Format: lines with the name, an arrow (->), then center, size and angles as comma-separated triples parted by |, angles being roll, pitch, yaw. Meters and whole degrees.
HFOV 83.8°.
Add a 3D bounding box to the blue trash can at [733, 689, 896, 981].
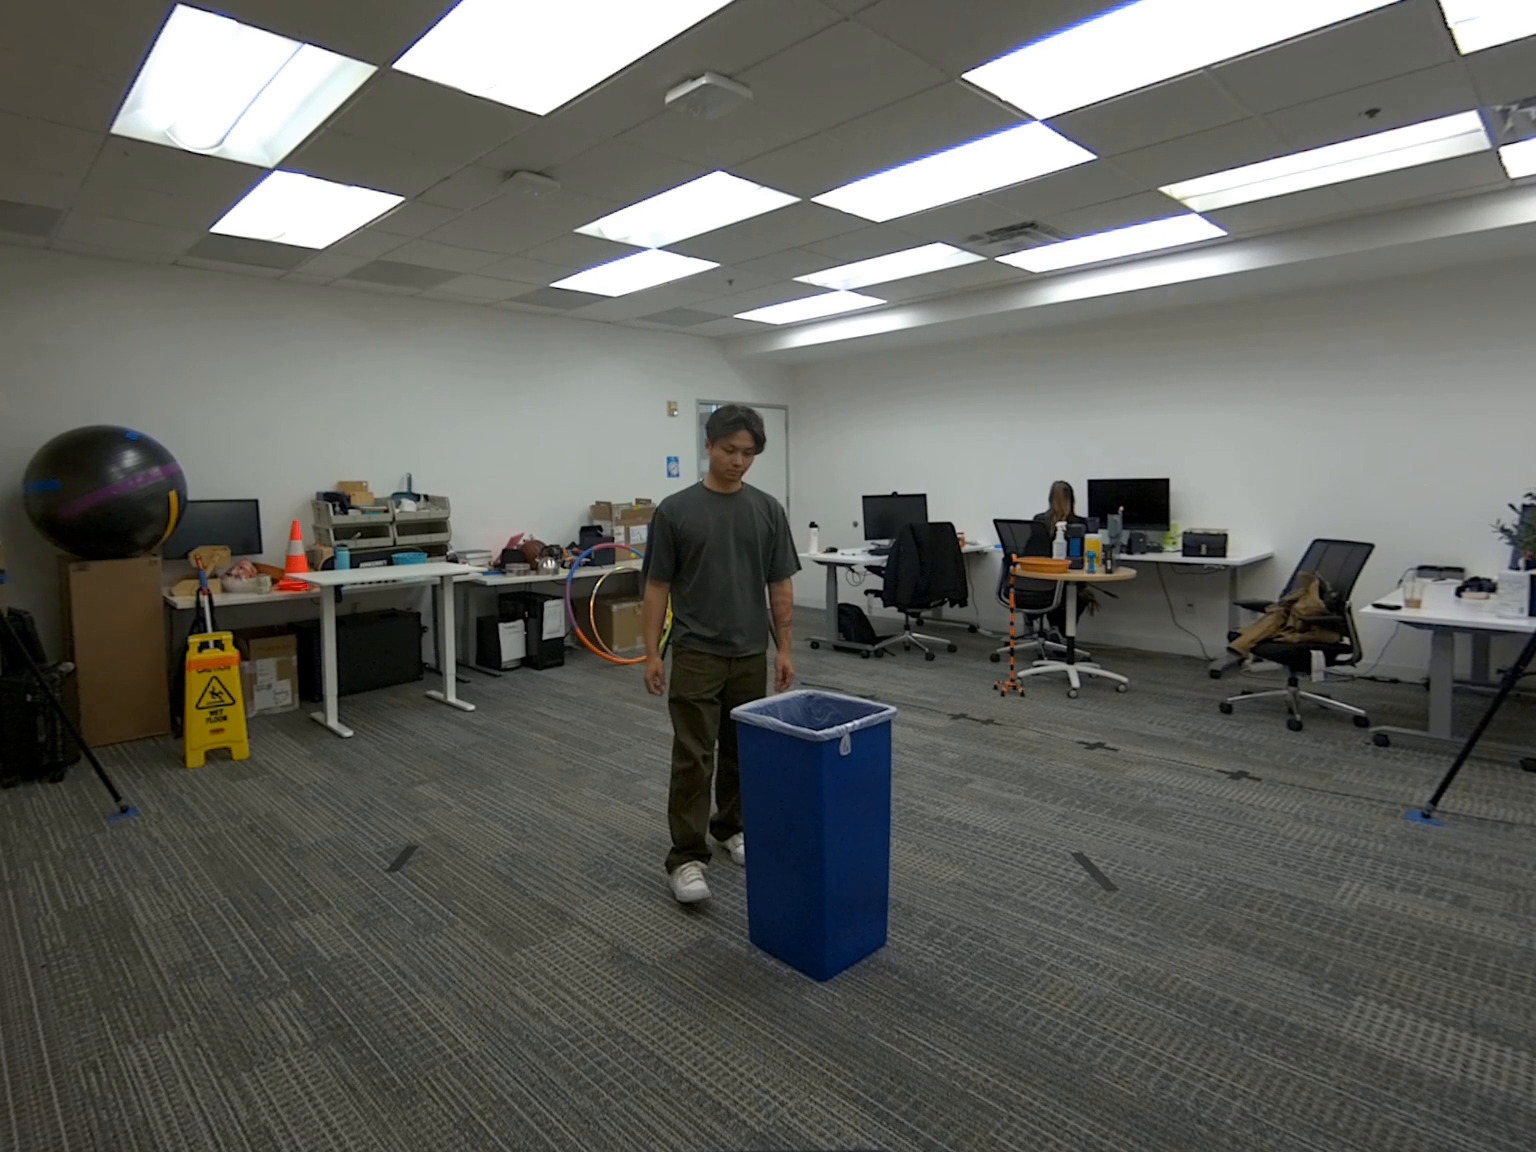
blue trash can -> 0.142, 0.748, 2.551 | 0.368, 0.711, 0.385 | -5, 6, -45
